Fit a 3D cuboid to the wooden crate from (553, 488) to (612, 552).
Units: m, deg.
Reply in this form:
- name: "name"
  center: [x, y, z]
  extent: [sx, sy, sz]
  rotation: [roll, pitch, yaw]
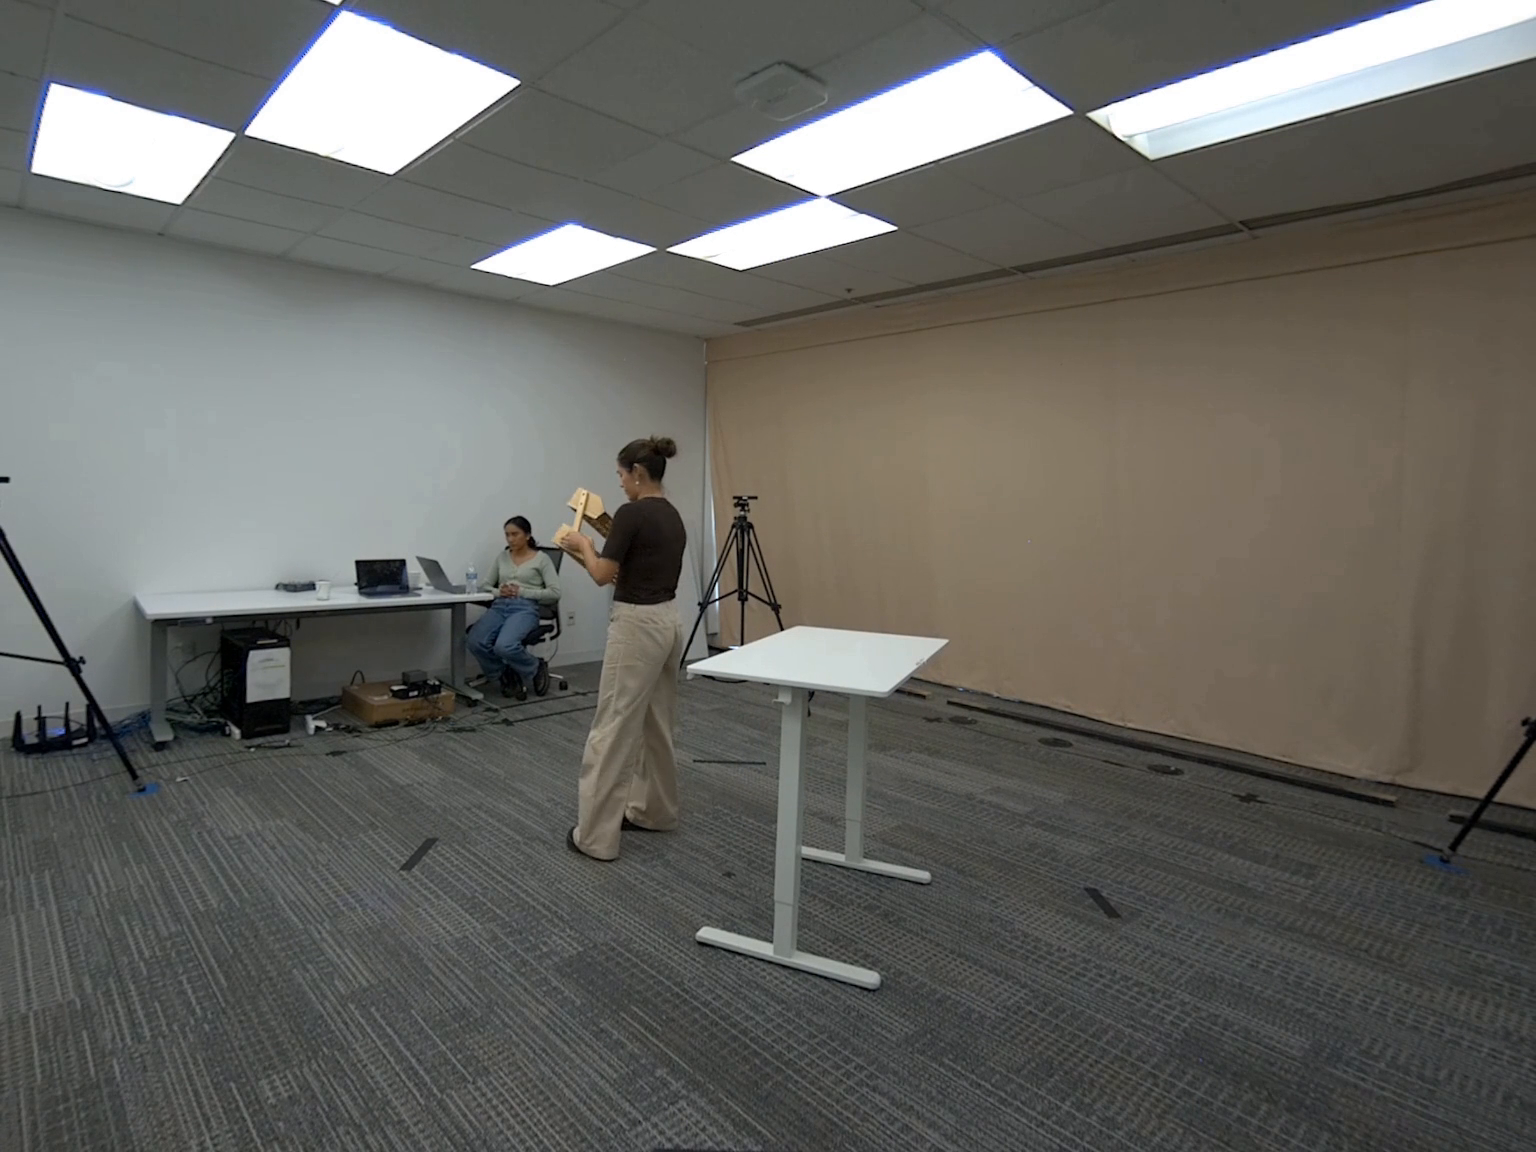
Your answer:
- name: "wooden crate"
  center: [-0.702, -0.154, 3.584]
  extent: [0.311, 0.274, 0.314]
  rotation: [26, -13, 34]
